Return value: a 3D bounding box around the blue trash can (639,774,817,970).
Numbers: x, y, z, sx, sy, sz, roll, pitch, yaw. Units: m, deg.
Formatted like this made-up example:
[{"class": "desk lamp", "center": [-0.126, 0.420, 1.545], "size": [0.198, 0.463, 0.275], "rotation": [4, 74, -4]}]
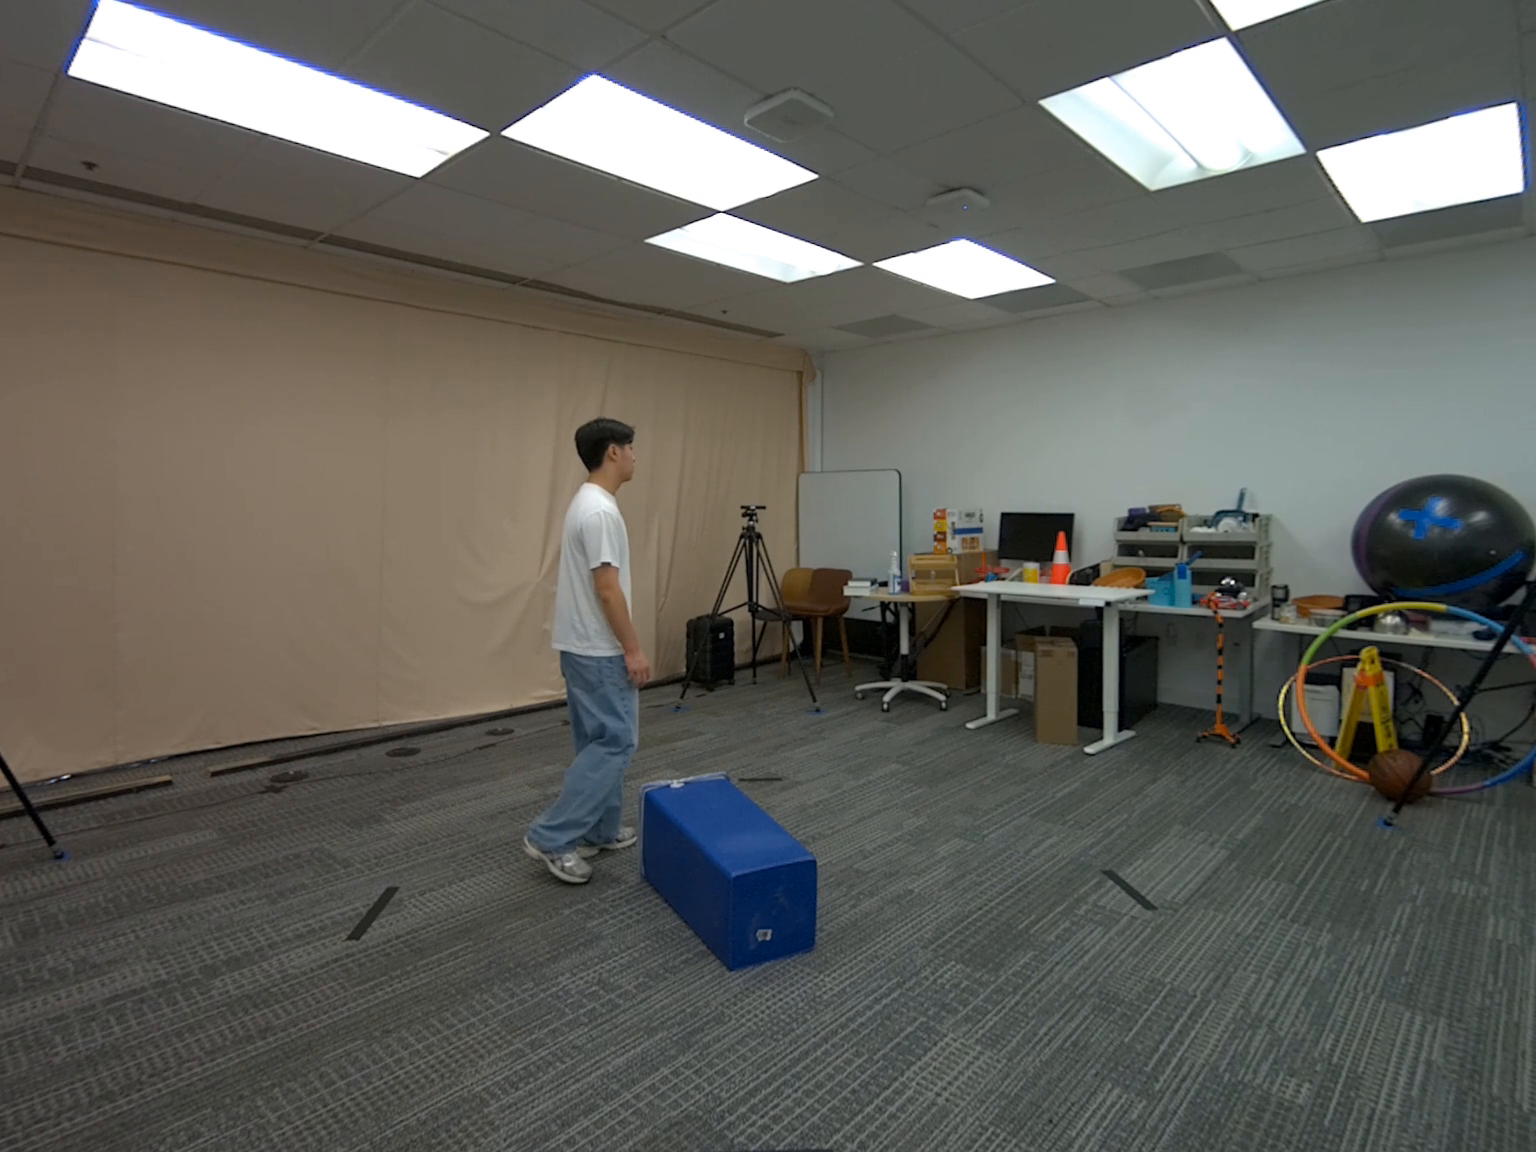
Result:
[{"class": "blue trash can", "center": [-0.141, 0.990, 2.880], "size": [0.365, 0.377, 0.734], "rotation": [-2, 7, -28]}]
